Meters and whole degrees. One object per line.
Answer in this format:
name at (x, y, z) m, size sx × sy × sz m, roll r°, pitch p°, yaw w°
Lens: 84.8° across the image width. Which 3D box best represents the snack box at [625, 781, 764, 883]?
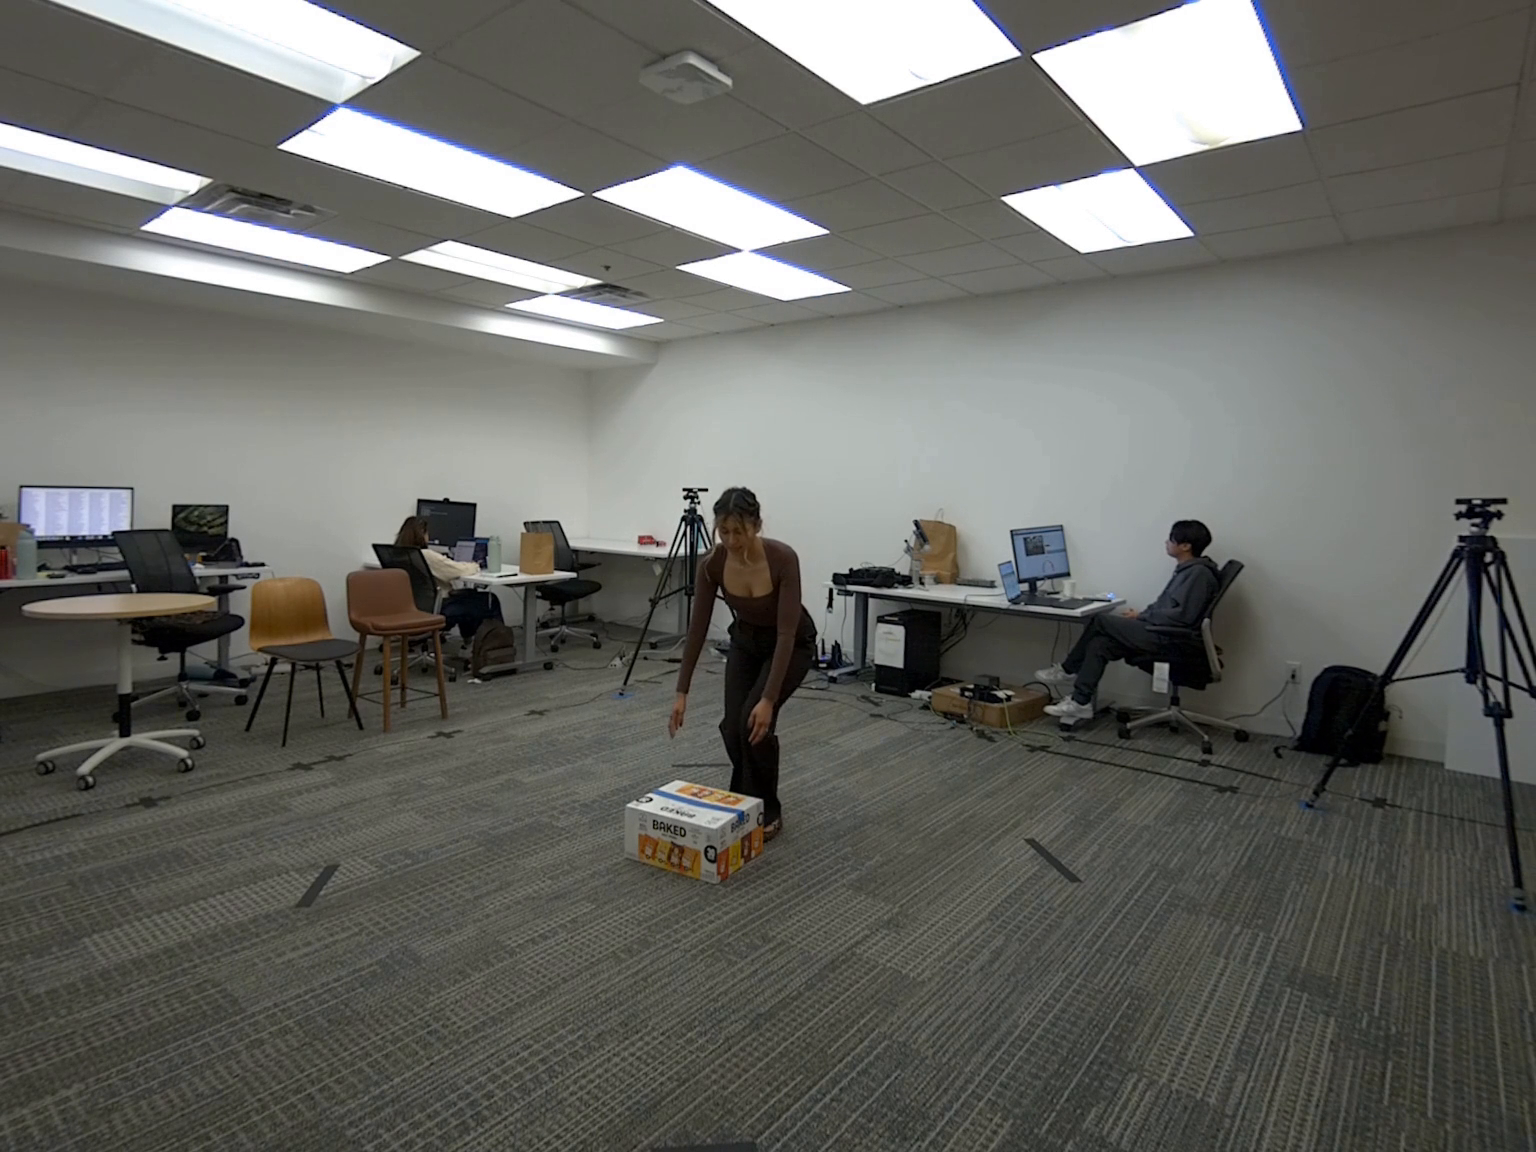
snack box at (-0.290, 0.954, 3.225) m, size 0.417 × 0.205 × 0.332 m, roll 4°, pitch 6°, yaw 30°
